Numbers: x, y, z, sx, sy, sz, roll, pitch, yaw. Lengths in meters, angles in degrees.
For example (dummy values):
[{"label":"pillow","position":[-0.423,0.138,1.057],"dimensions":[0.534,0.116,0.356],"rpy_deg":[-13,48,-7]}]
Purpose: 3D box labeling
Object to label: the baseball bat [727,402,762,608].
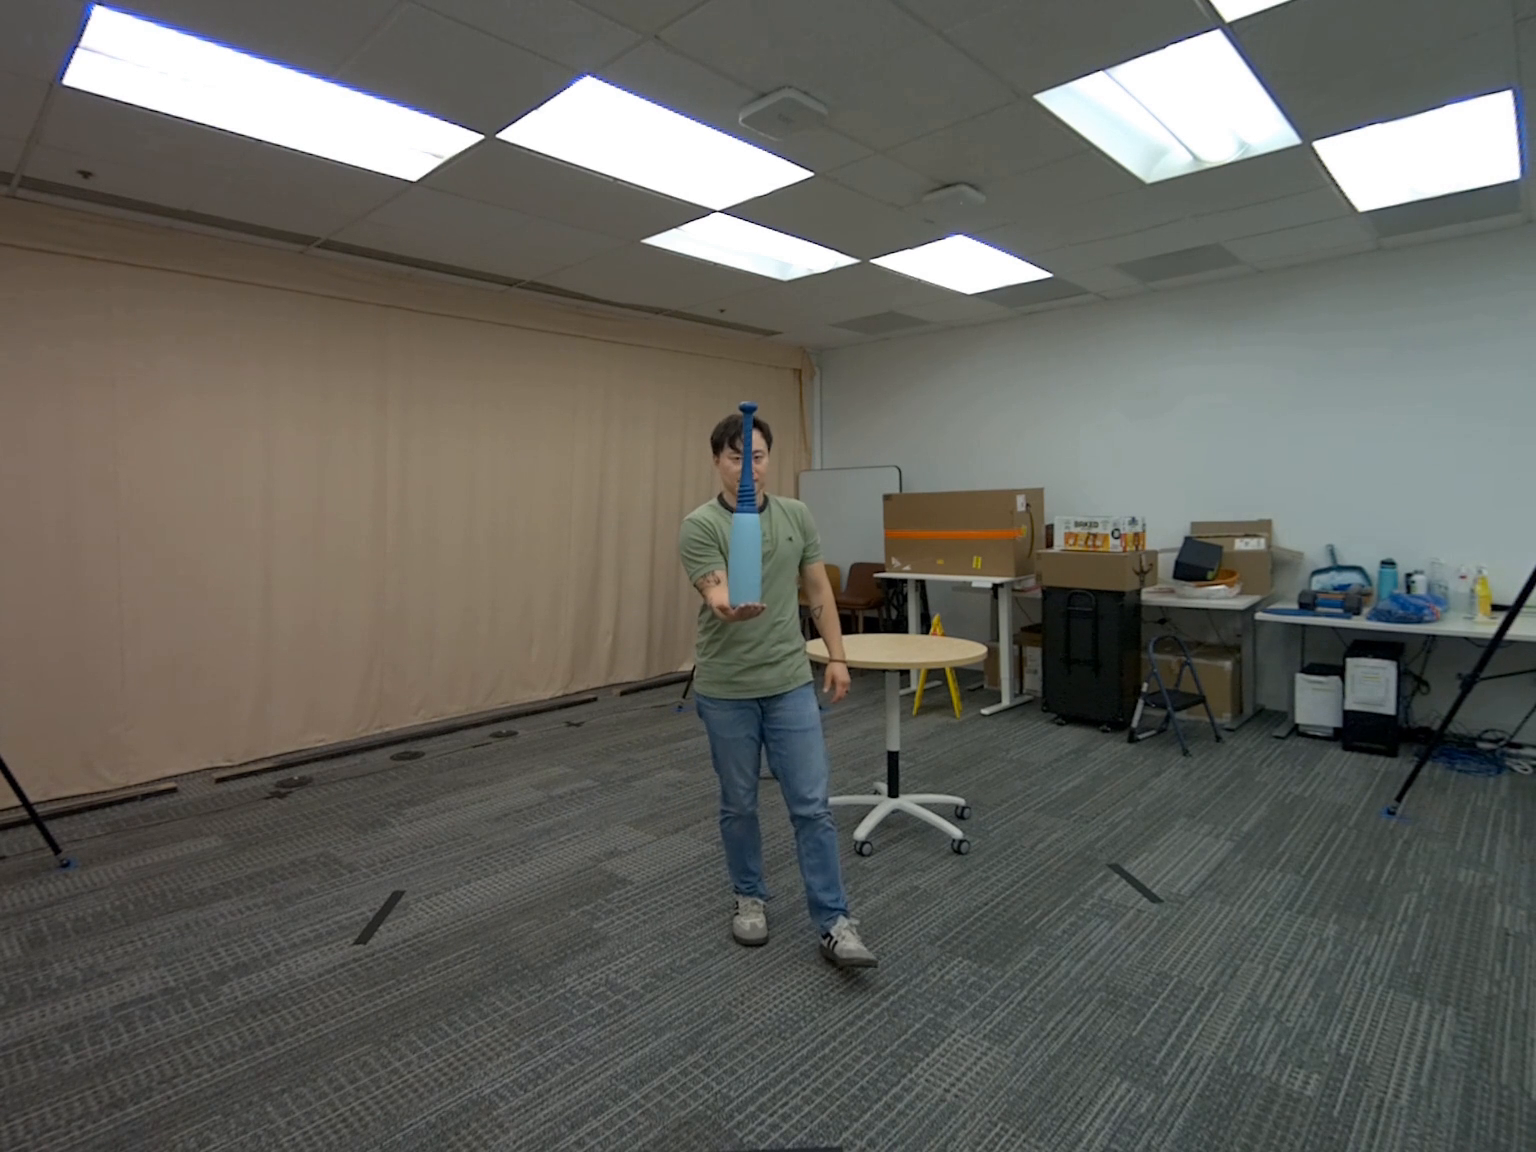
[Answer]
[{"label":"baseball bat","position":[-0.054,-0.185,2.220],"dimensions":[0.089,0.542,0.089],"rpy_deg":[1,1,-2]}]
